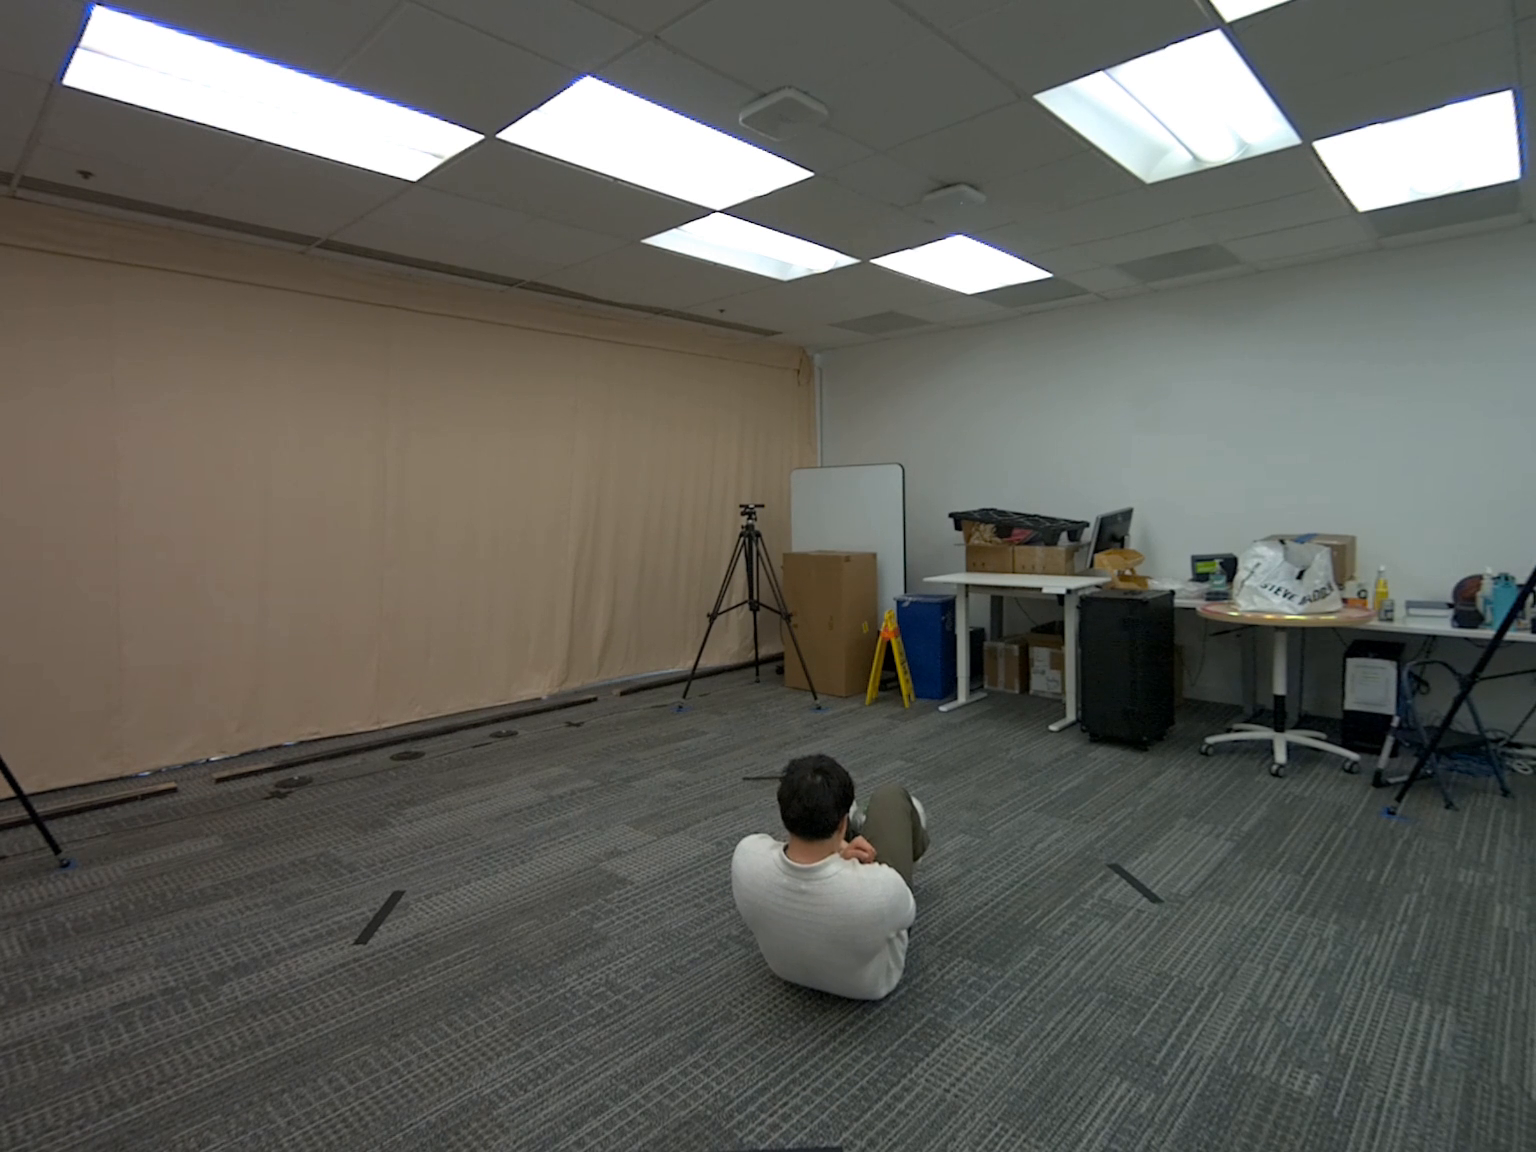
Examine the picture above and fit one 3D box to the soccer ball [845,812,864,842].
[{"bbox_3d":[0.405,0.907,3.008,0.187,0.187,0.188,-1,4,-2],"label":"soccer ball"}]
